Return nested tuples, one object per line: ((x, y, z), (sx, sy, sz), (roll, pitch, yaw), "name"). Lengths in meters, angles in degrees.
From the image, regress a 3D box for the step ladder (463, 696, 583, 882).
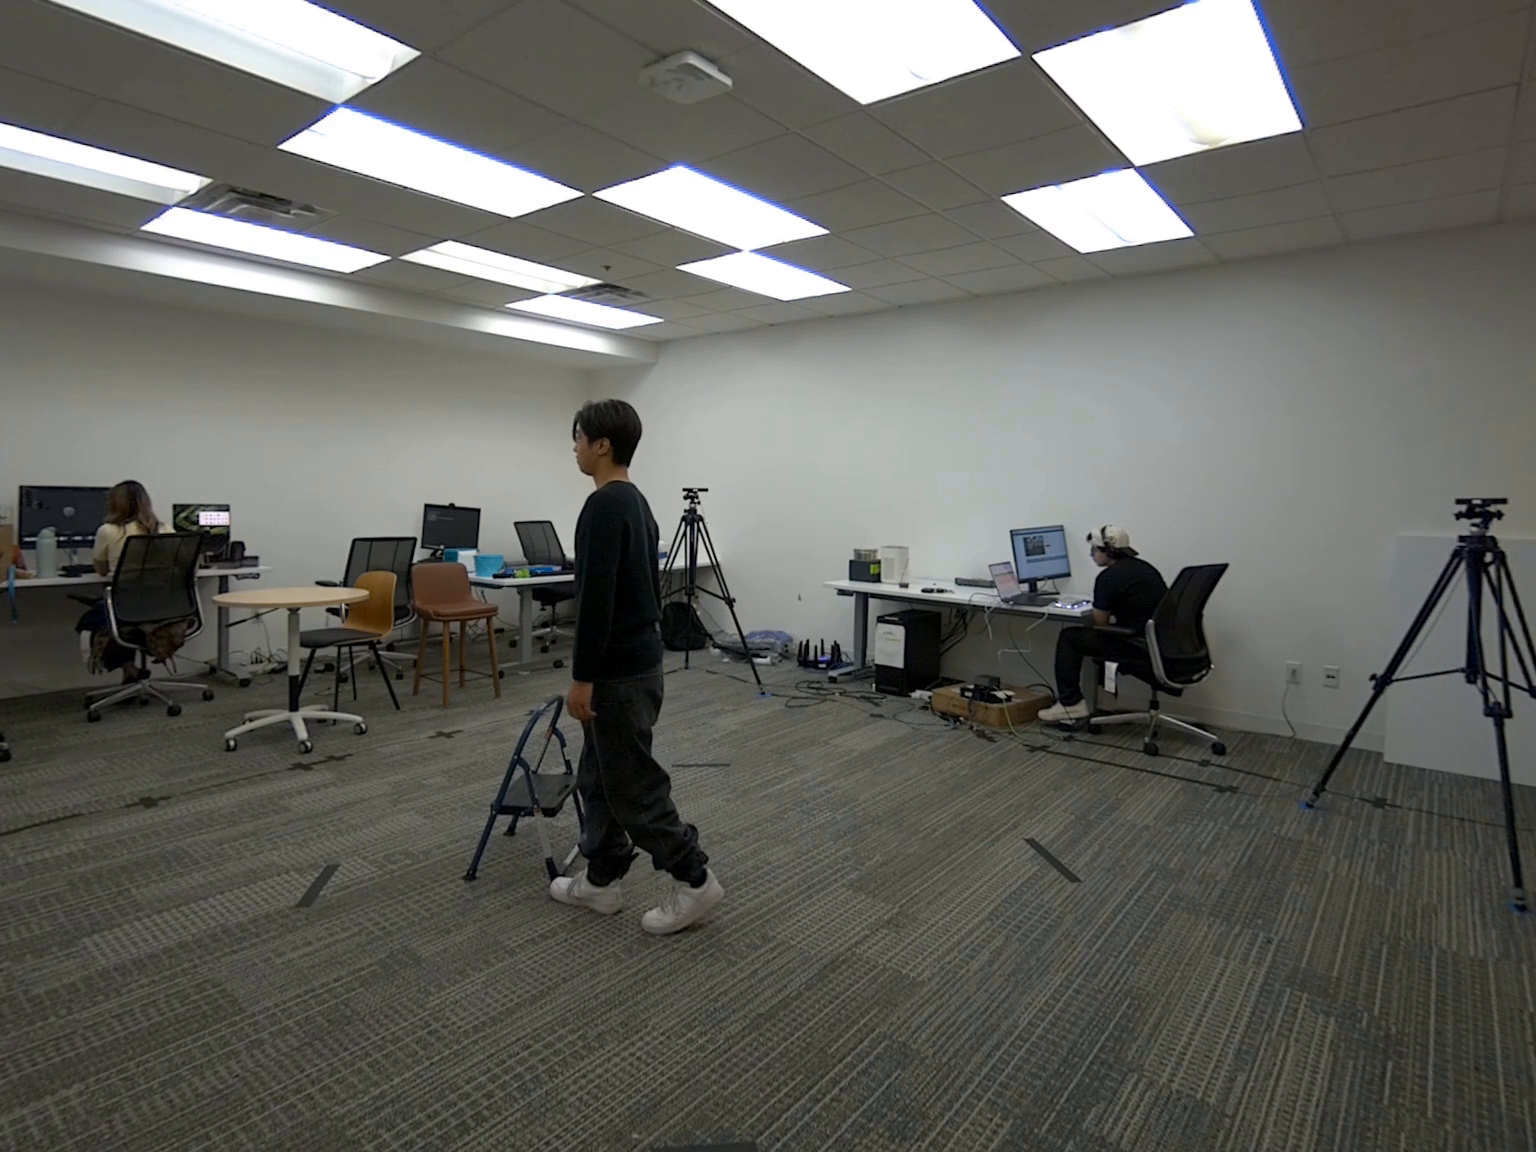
((-0.899, 0.753, 3.167), (0.351, 0.604, 0.430), (1, 4, 4), "step ladder")
